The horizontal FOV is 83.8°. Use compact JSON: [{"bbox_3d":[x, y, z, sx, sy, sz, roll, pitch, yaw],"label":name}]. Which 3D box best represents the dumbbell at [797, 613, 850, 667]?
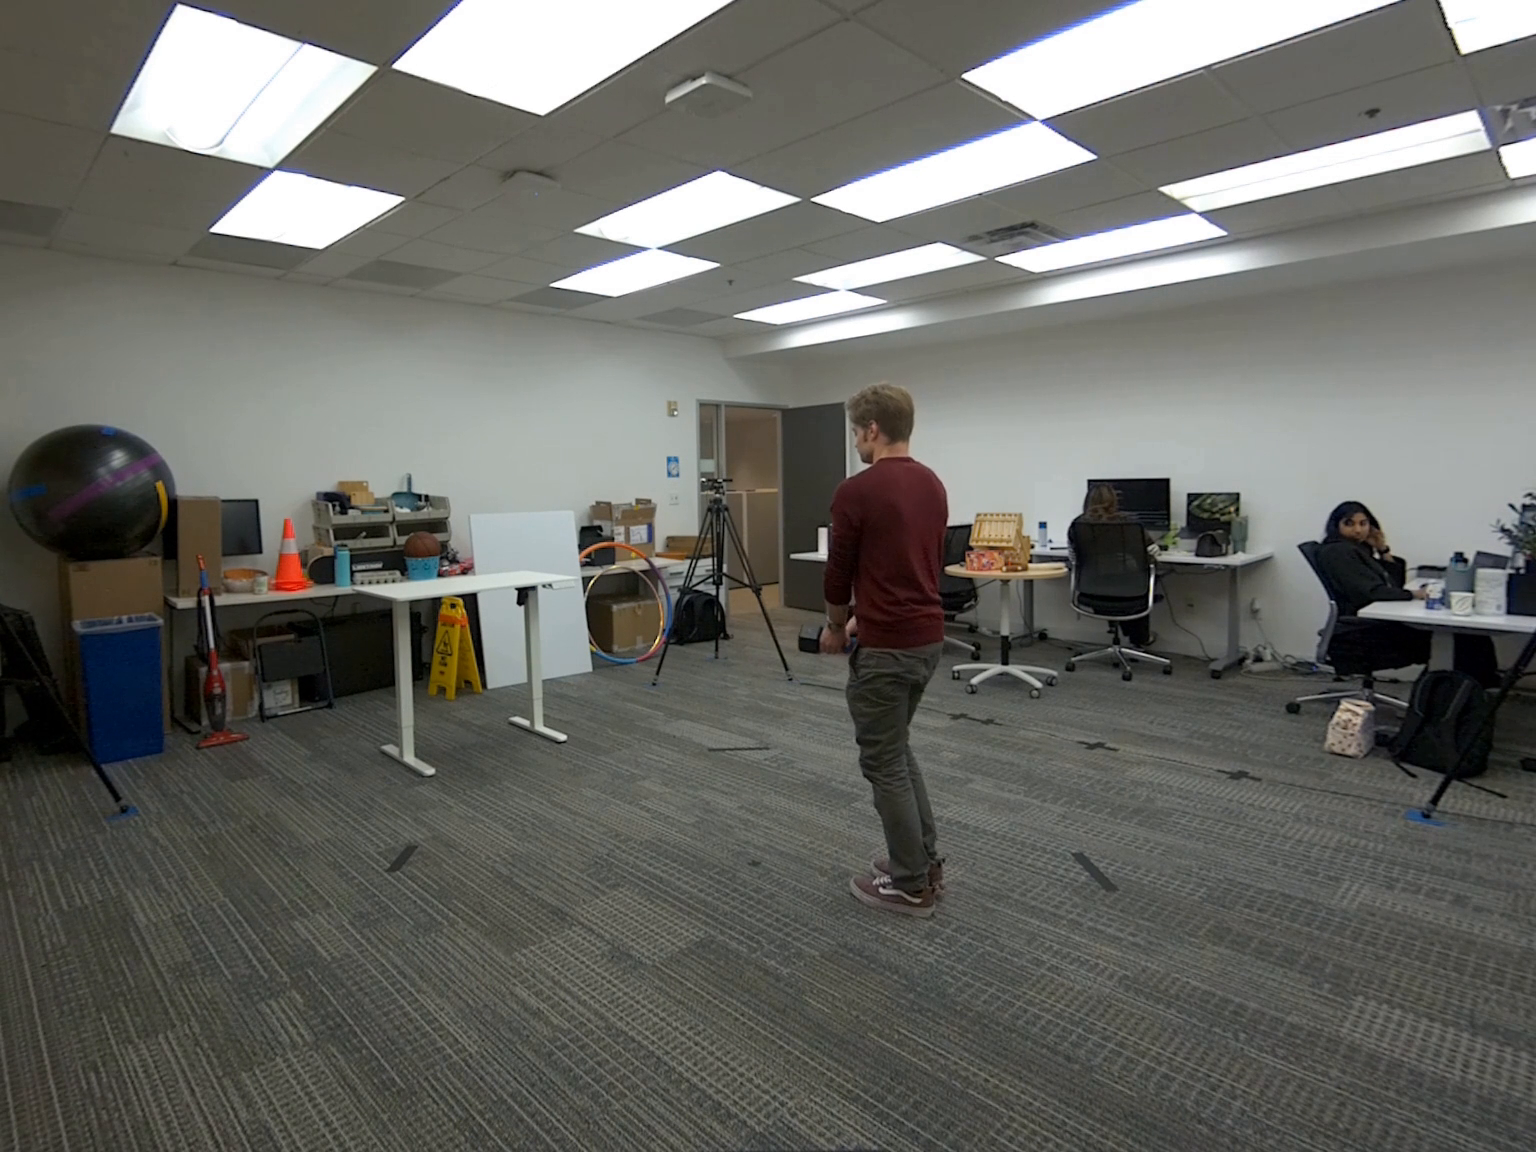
[{"bbox_3d":[0.270,0.238,3.064,0.300,0.124,0.105,9,-35,21],"label":"dumbbell"}]
